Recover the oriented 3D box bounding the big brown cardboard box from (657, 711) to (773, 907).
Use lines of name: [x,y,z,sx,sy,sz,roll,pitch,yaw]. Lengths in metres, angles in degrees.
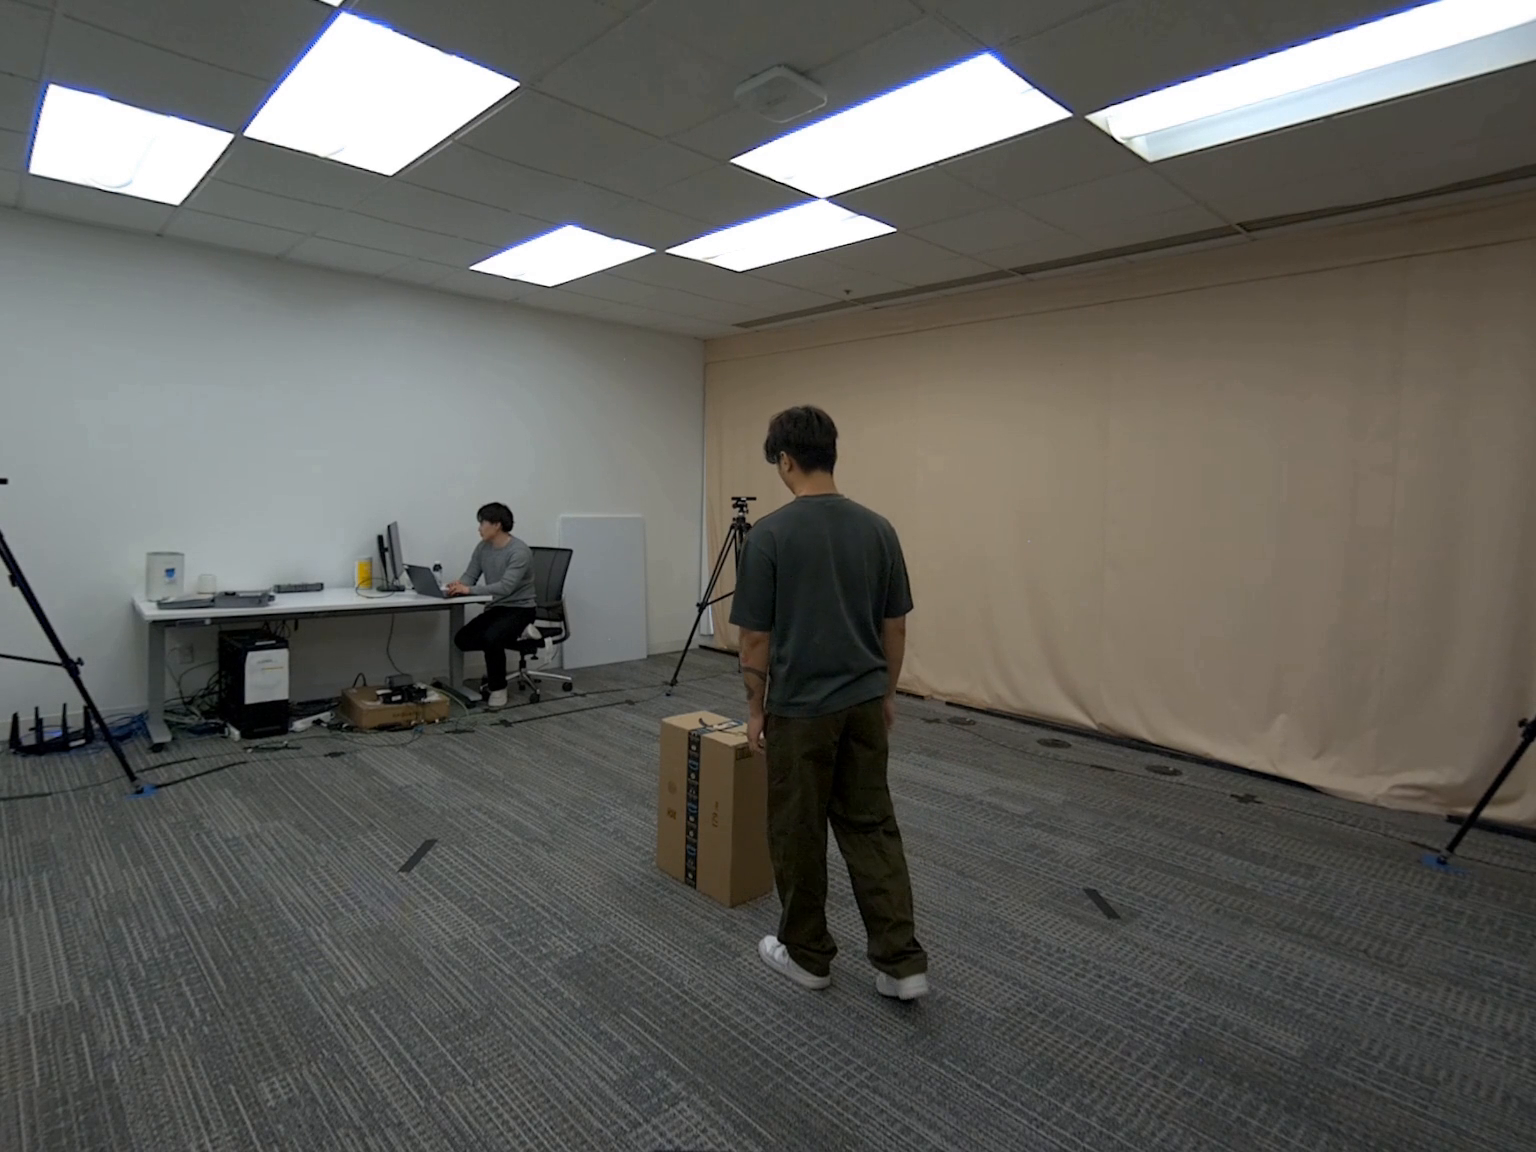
big brown cardboard box: [-0.194,0.822,3.060,0.228,0.587,0.428,-1,5,-43]
